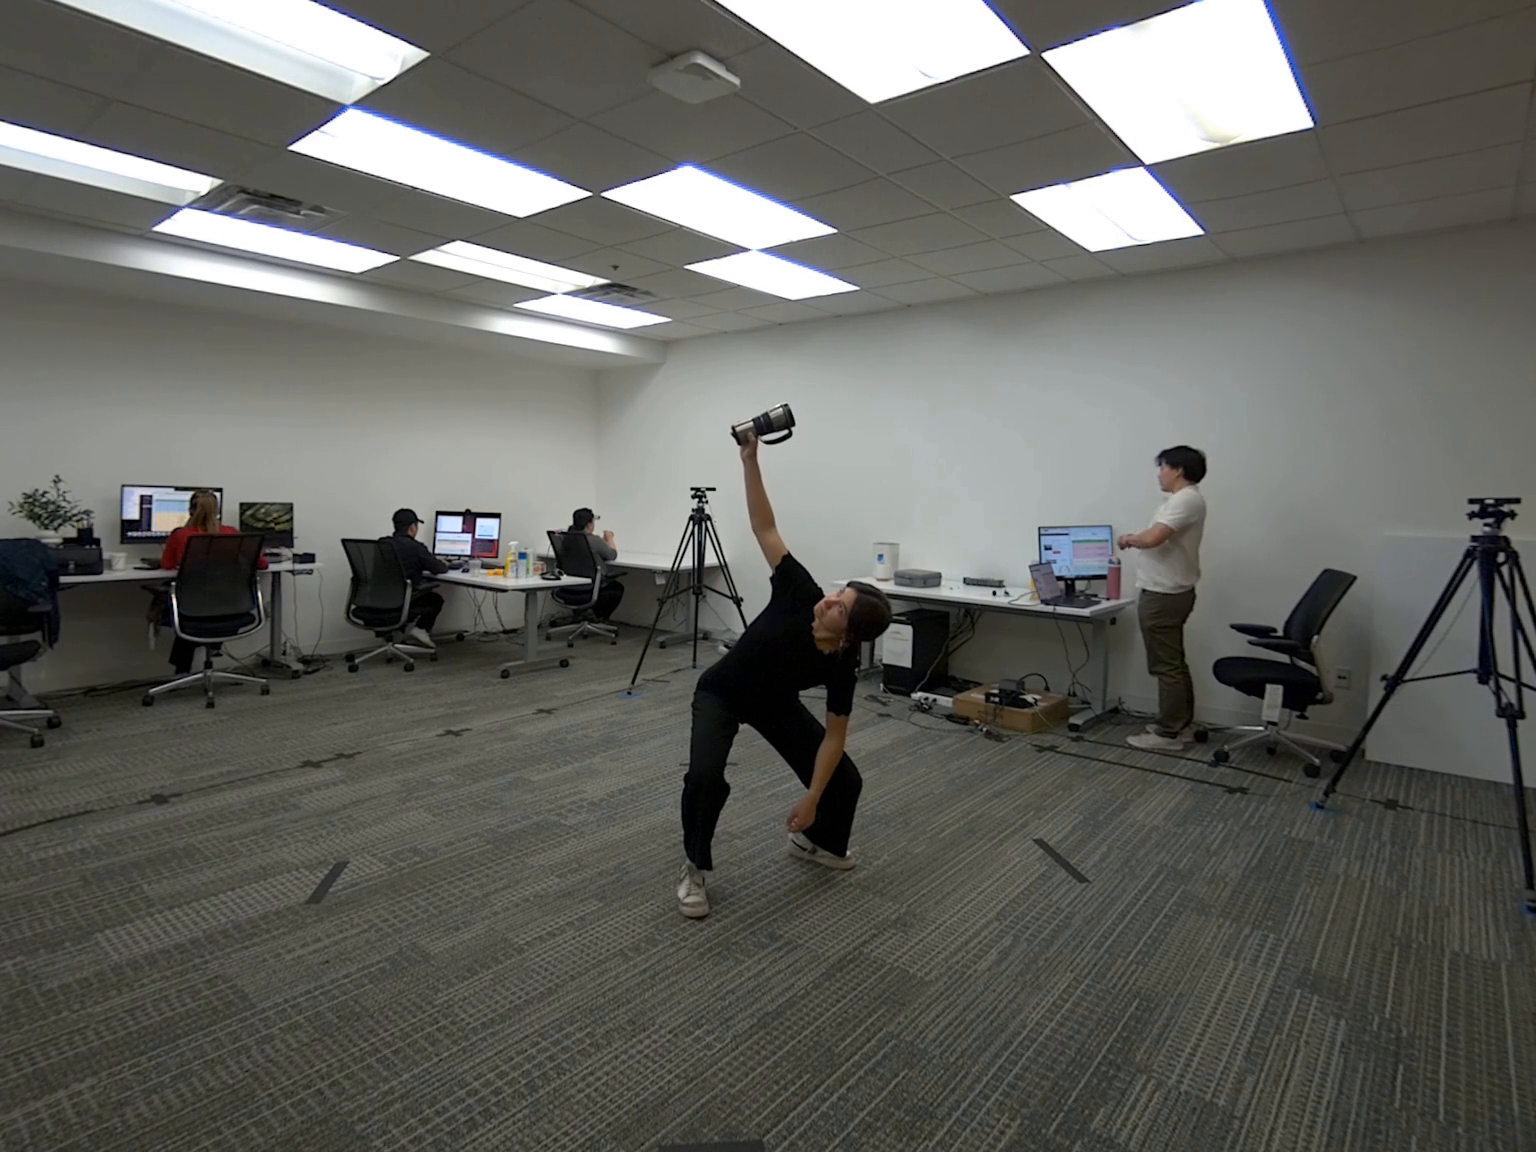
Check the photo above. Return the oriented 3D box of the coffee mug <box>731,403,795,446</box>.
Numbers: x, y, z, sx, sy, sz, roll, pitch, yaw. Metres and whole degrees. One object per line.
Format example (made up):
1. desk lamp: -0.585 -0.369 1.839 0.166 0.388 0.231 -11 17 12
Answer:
1. coffee mug: -0.021 -0.494 2.812 0.203 0.085 0.126 -20 34 -2
